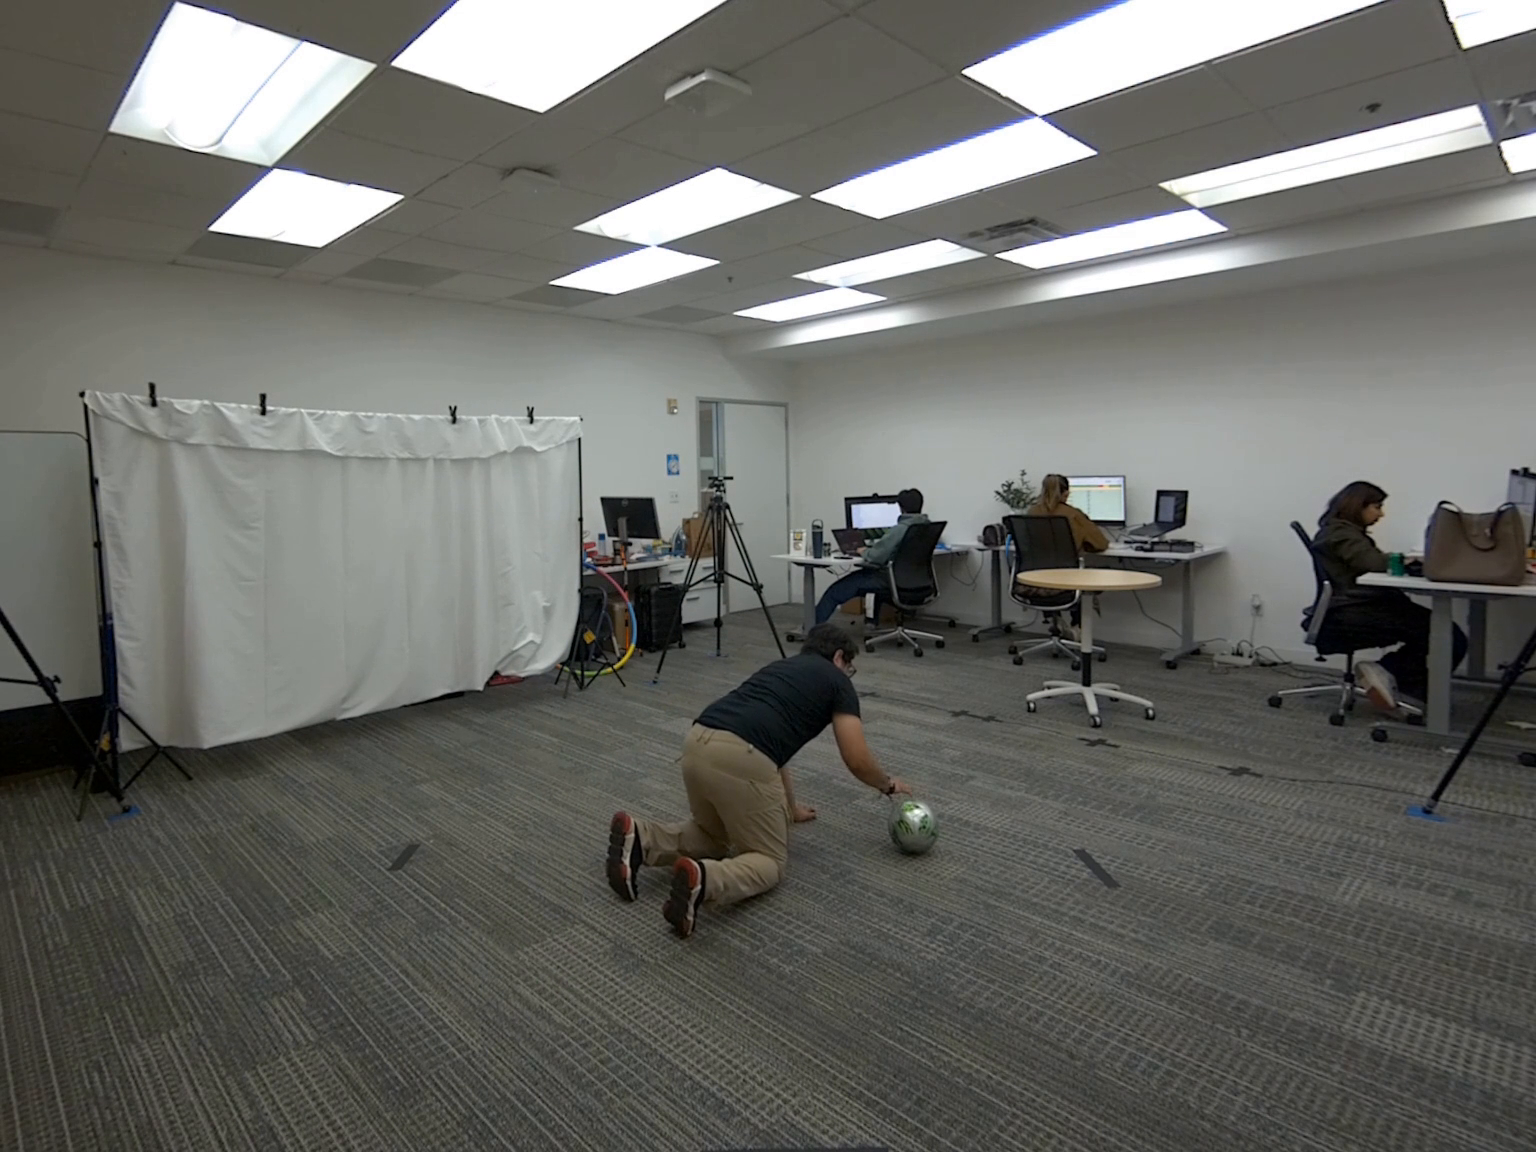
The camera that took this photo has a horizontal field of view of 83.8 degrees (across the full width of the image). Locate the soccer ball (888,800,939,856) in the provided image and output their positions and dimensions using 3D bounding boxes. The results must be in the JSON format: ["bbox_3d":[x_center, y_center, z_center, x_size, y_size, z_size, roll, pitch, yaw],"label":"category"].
[{"bbox_3d":[0.539,0.920,3.157,0.187,0.187,0.188,-1,5,-2],"label":"soccer ball"}]
